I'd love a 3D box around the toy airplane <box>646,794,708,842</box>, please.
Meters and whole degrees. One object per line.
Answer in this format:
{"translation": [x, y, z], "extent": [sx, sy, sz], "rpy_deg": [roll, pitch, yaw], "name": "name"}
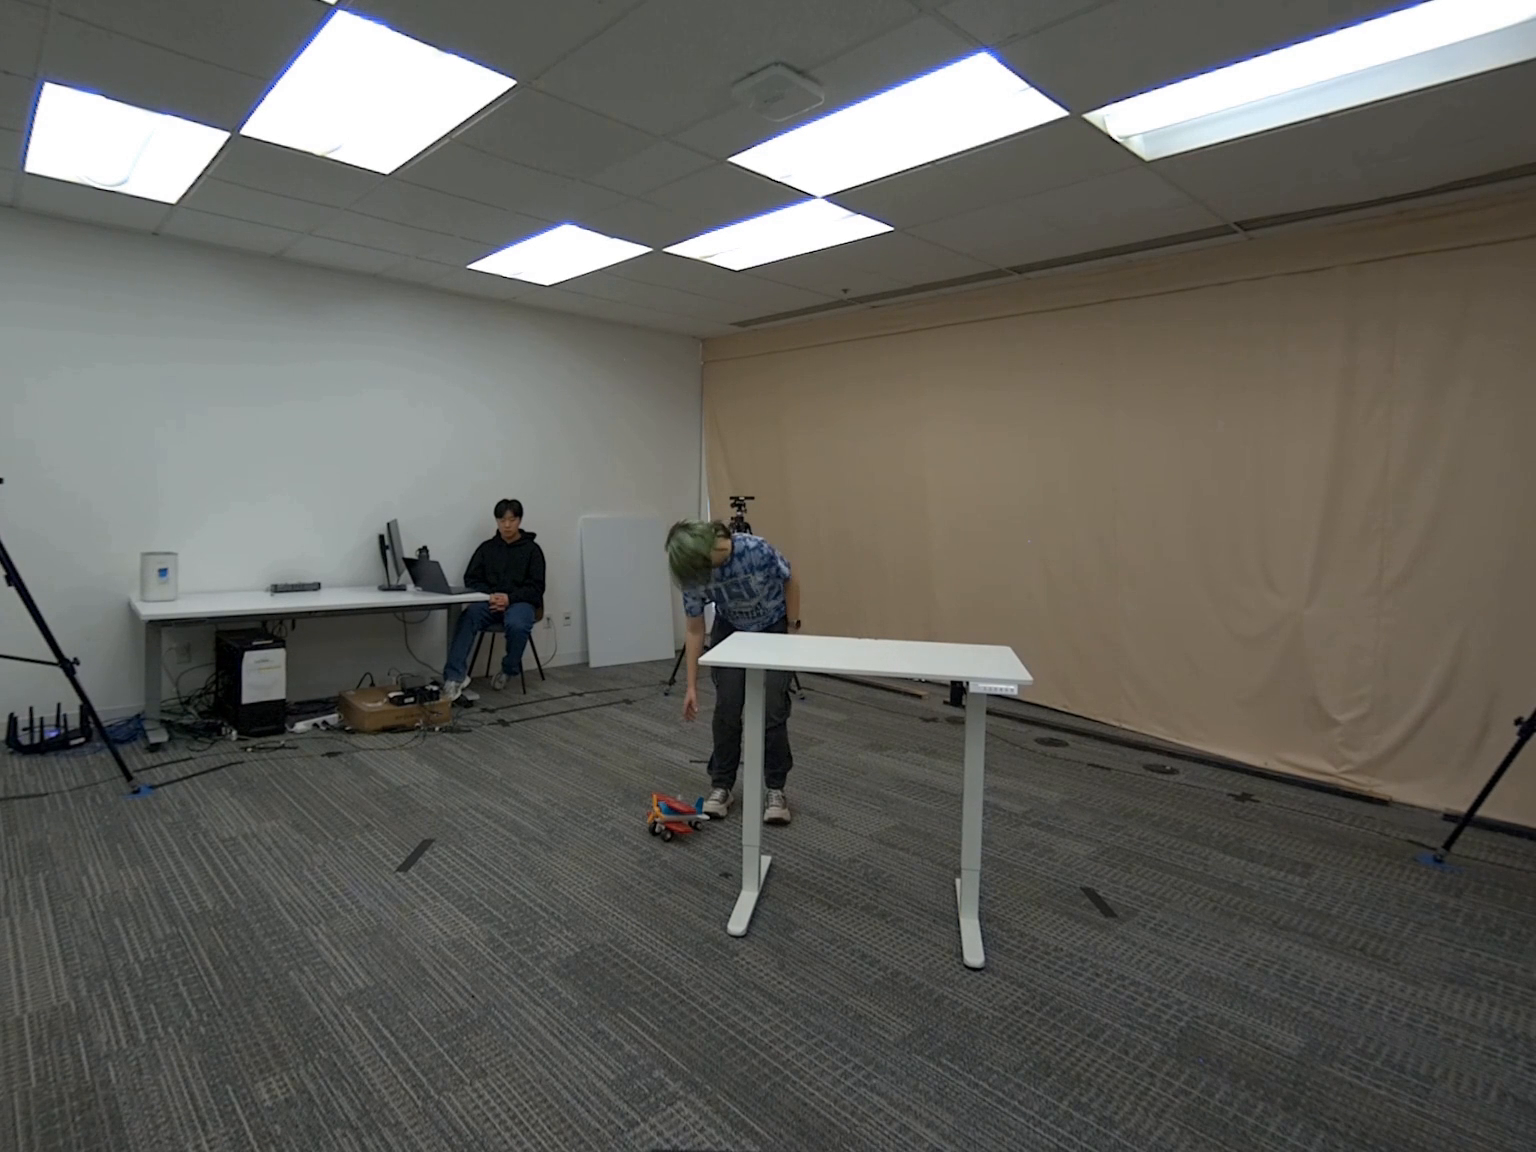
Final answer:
{"translation": [-0.393, 0.989, 3.490], "extent": [0.255, 0.156, 0.256], "rpy_deg": [3, 6, 20], "name": "toy airplane"}
